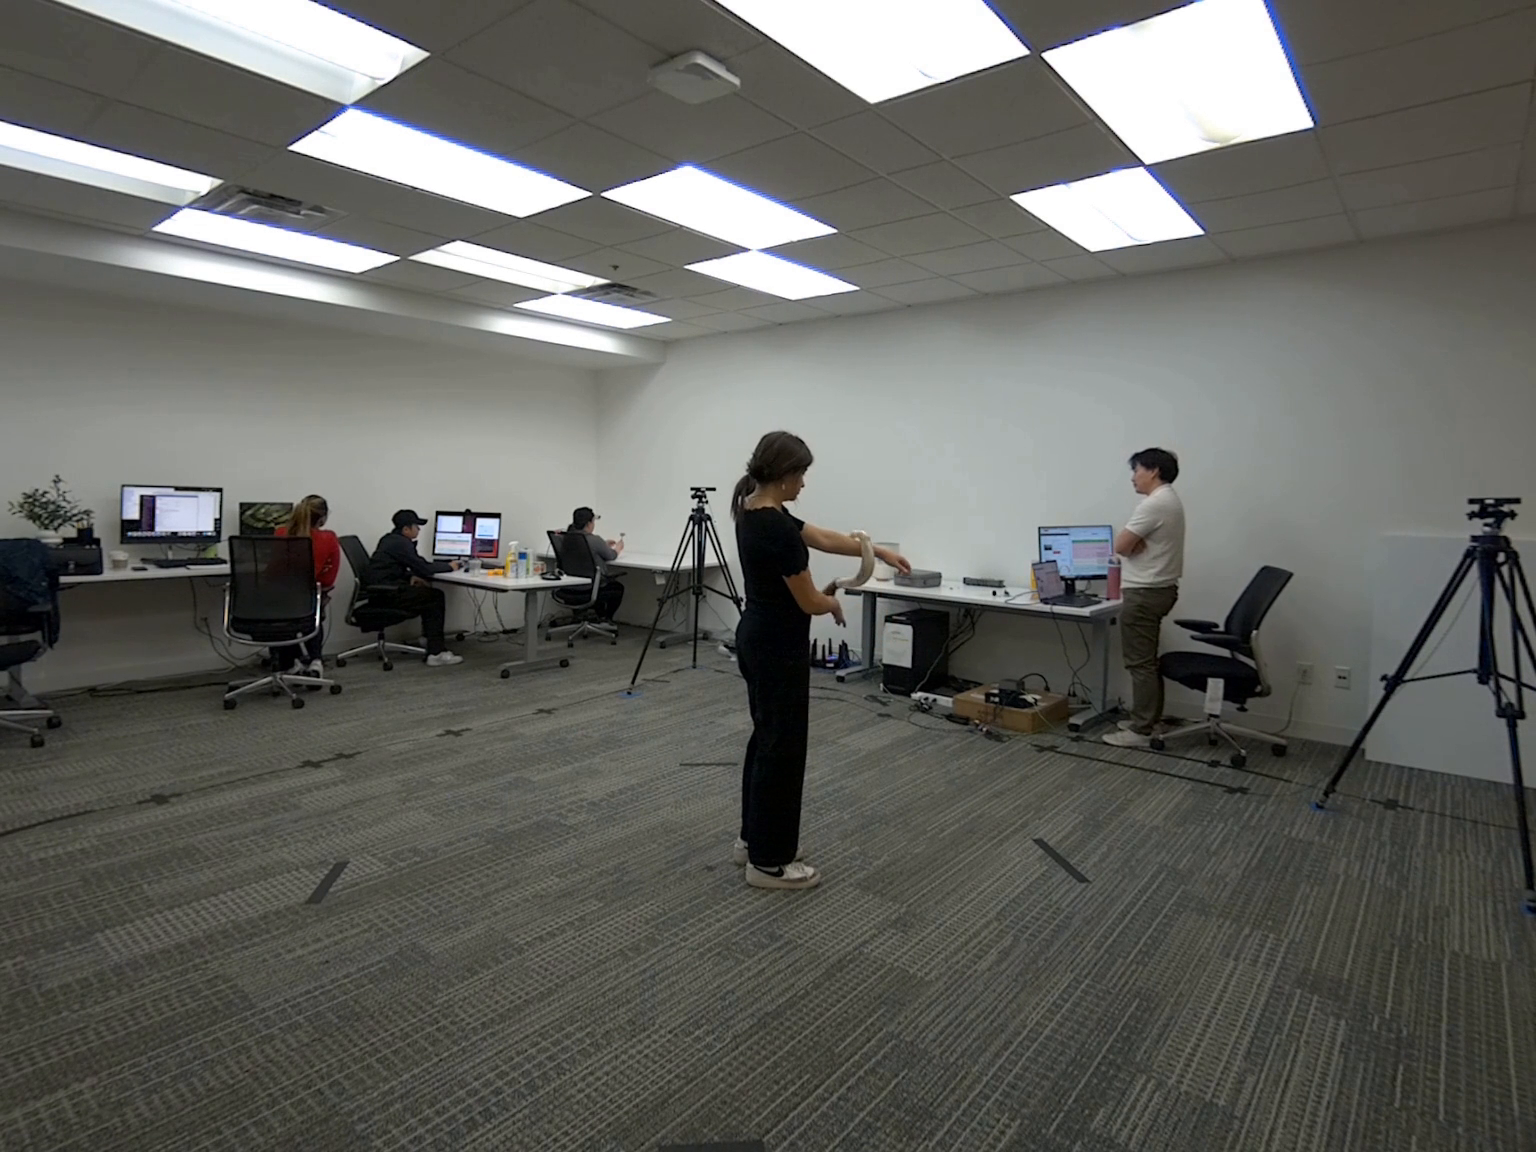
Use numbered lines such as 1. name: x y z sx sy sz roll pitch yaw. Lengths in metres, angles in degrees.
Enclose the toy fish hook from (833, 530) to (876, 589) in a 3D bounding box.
1. toy fish hook: 0.306 -0.034 3.382 0.047 0.229 0.507 7 -20 -18
